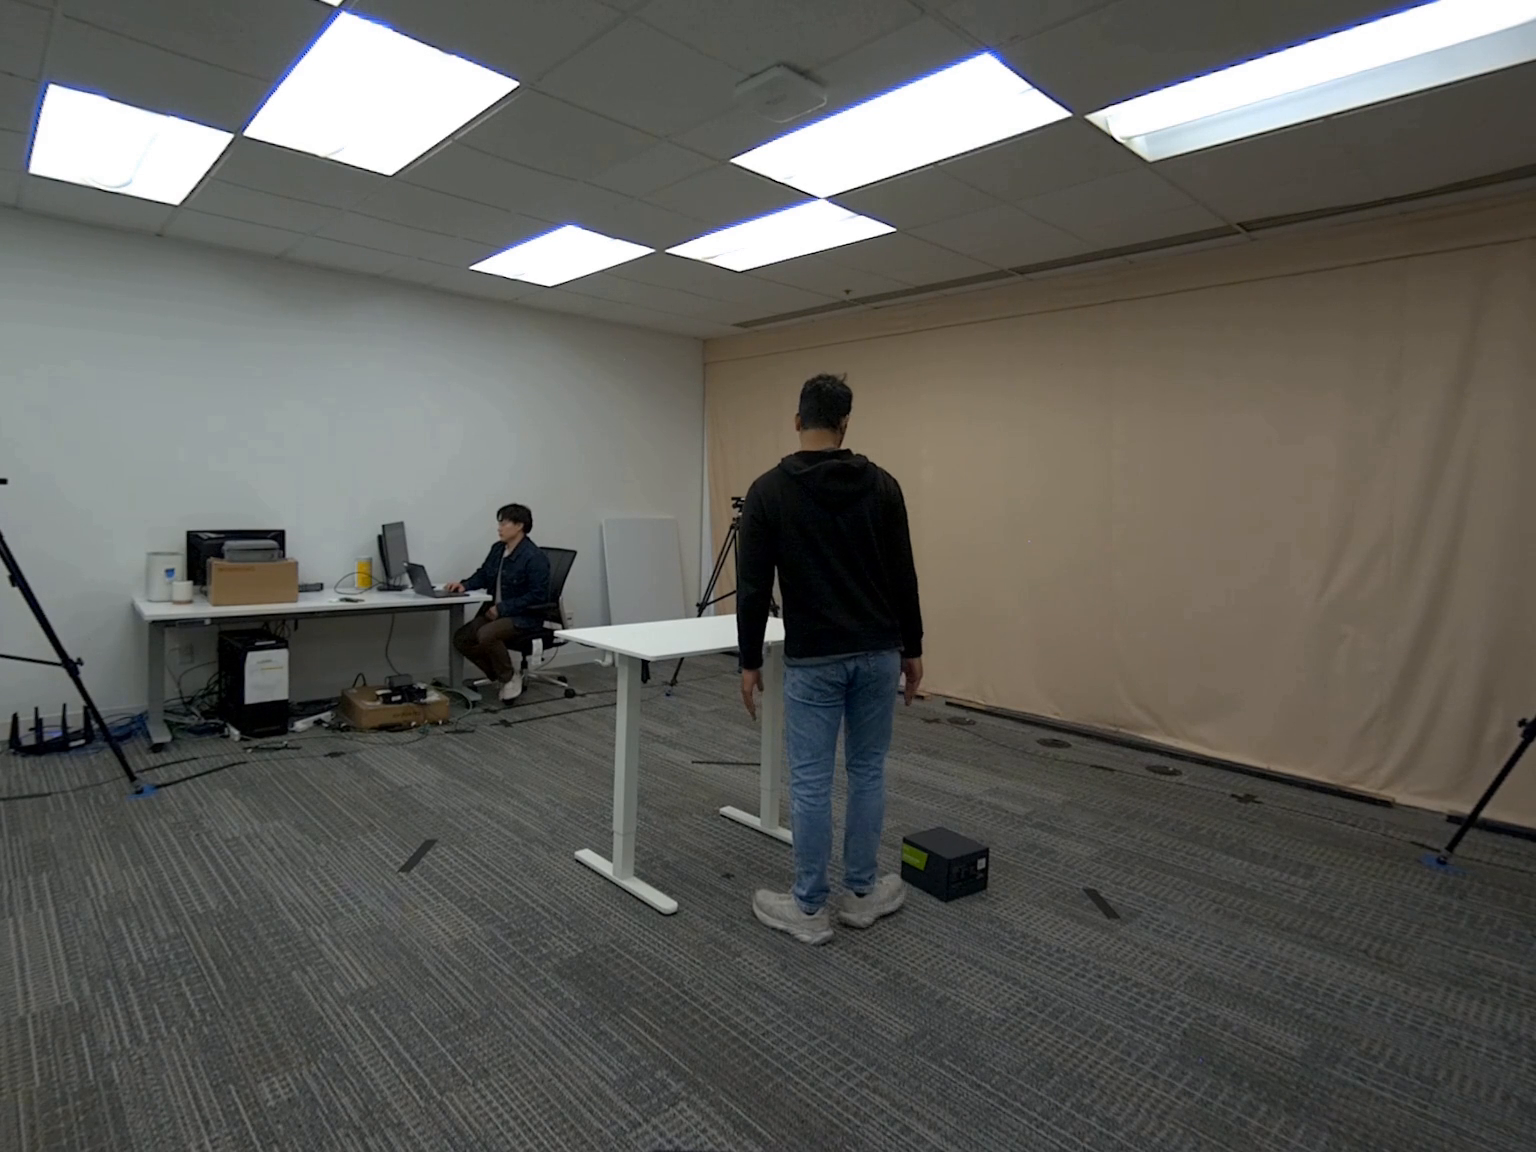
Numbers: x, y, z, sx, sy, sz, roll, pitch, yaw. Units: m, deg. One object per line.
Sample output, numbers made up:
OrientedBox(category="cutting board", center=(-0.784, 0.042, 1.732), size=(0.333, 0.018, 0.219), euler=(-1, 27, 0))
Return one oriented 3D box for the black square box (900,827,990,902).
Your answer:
OrientedBox(category="black square box", center=(0.637, 1.045, 3.081), size=(0.212, 0.155, 0.233), euler=(-1, 5, -35))
